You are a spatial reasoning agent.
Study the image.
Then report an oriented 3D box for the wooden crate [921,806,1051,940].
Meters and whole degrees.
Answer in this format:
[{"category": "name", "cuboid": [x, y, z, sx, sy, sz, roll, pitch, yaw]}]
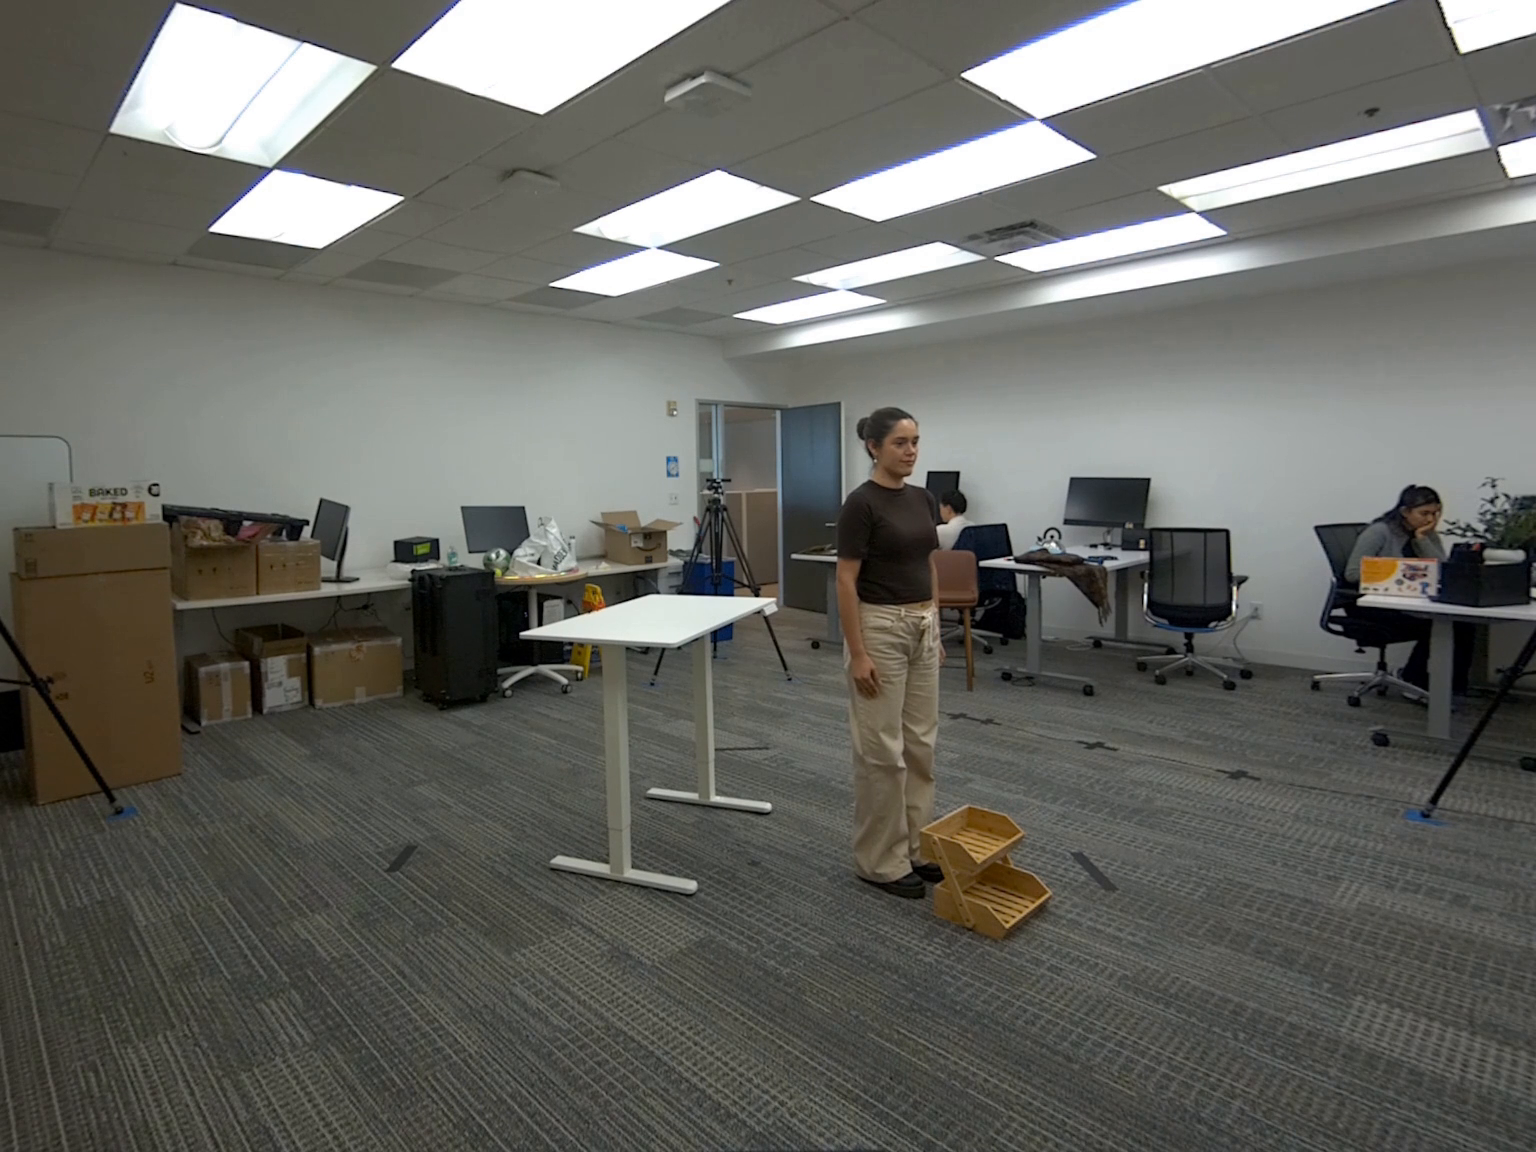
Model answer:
[{"category": "wooden crate", "cuboid": [0.709, 0.944, 2.742, 0.311, 0.272, 0.316, 2, 6, 45]}]
